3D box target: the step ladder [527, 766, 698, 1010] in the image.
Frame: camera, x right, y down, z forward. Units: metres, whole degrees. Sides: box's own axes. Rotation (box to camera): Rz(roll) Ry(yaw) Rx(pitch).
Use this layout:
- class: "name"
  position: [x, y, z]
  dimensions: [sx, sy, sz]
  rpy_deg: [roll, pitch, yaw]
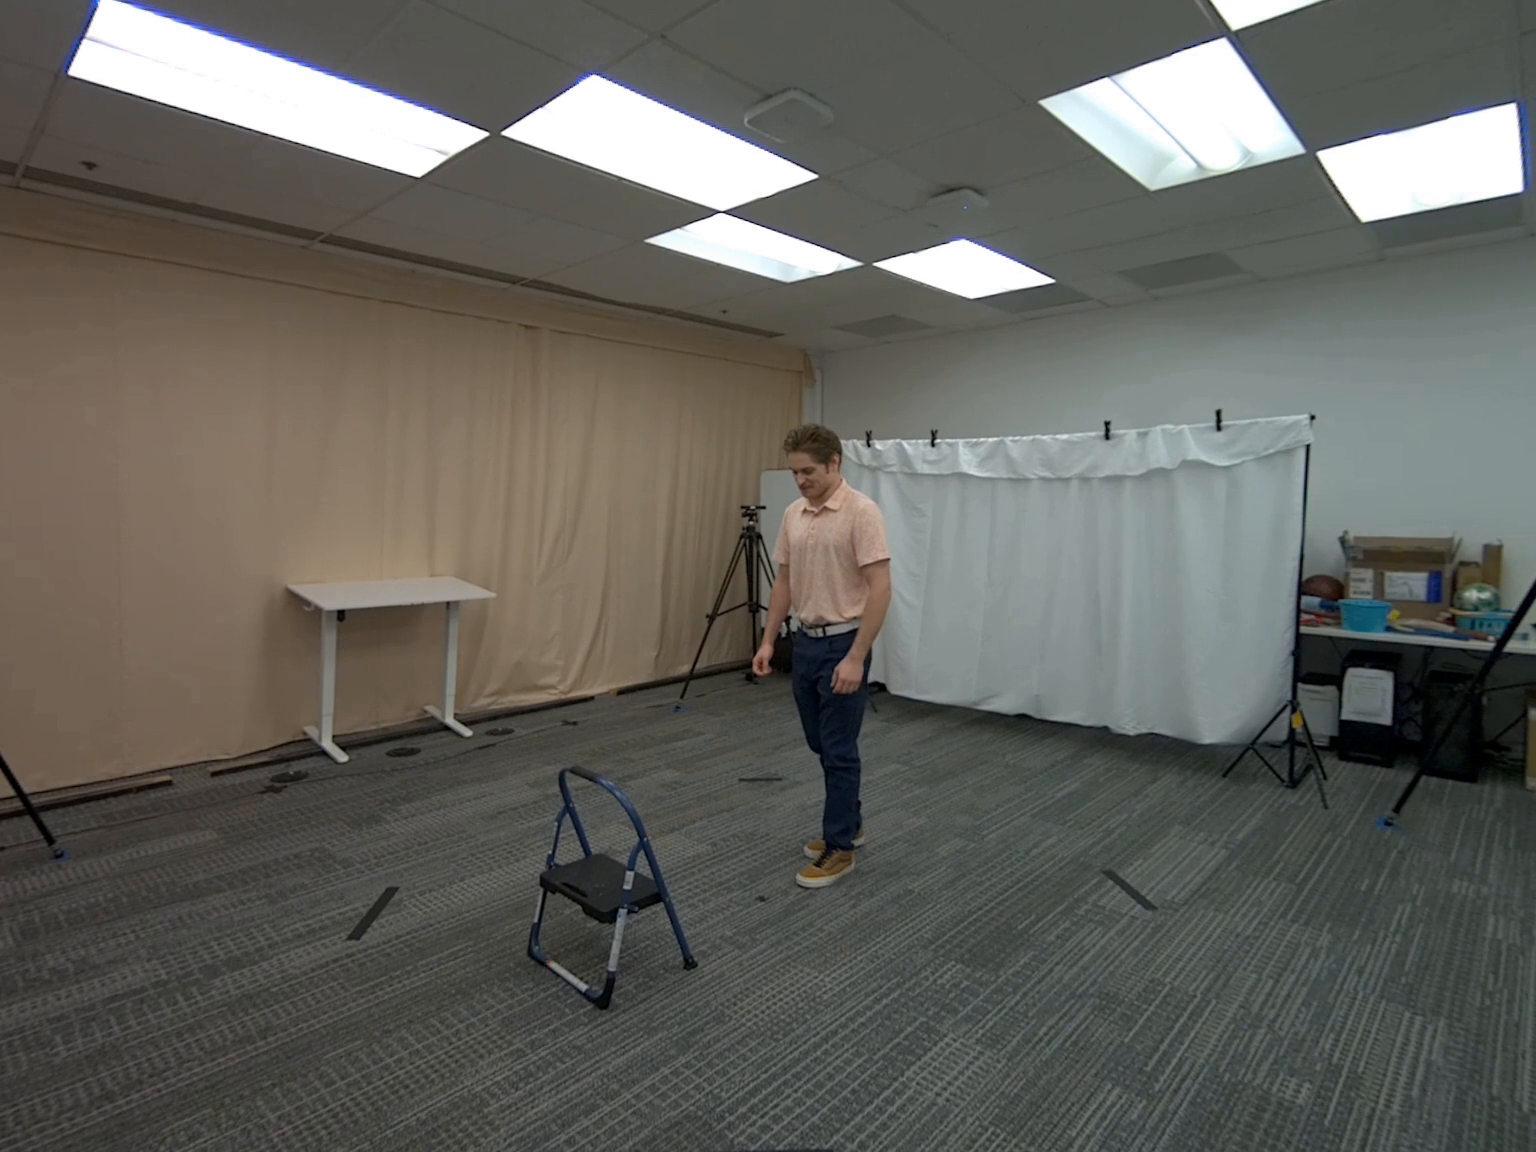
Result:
- class: "step ladder"
  position: [-0.484, 0.880, 2.569]
  dimensions: [0.445, 0.605, 0.338]
  rpy_deg: [3, 4, 44]
